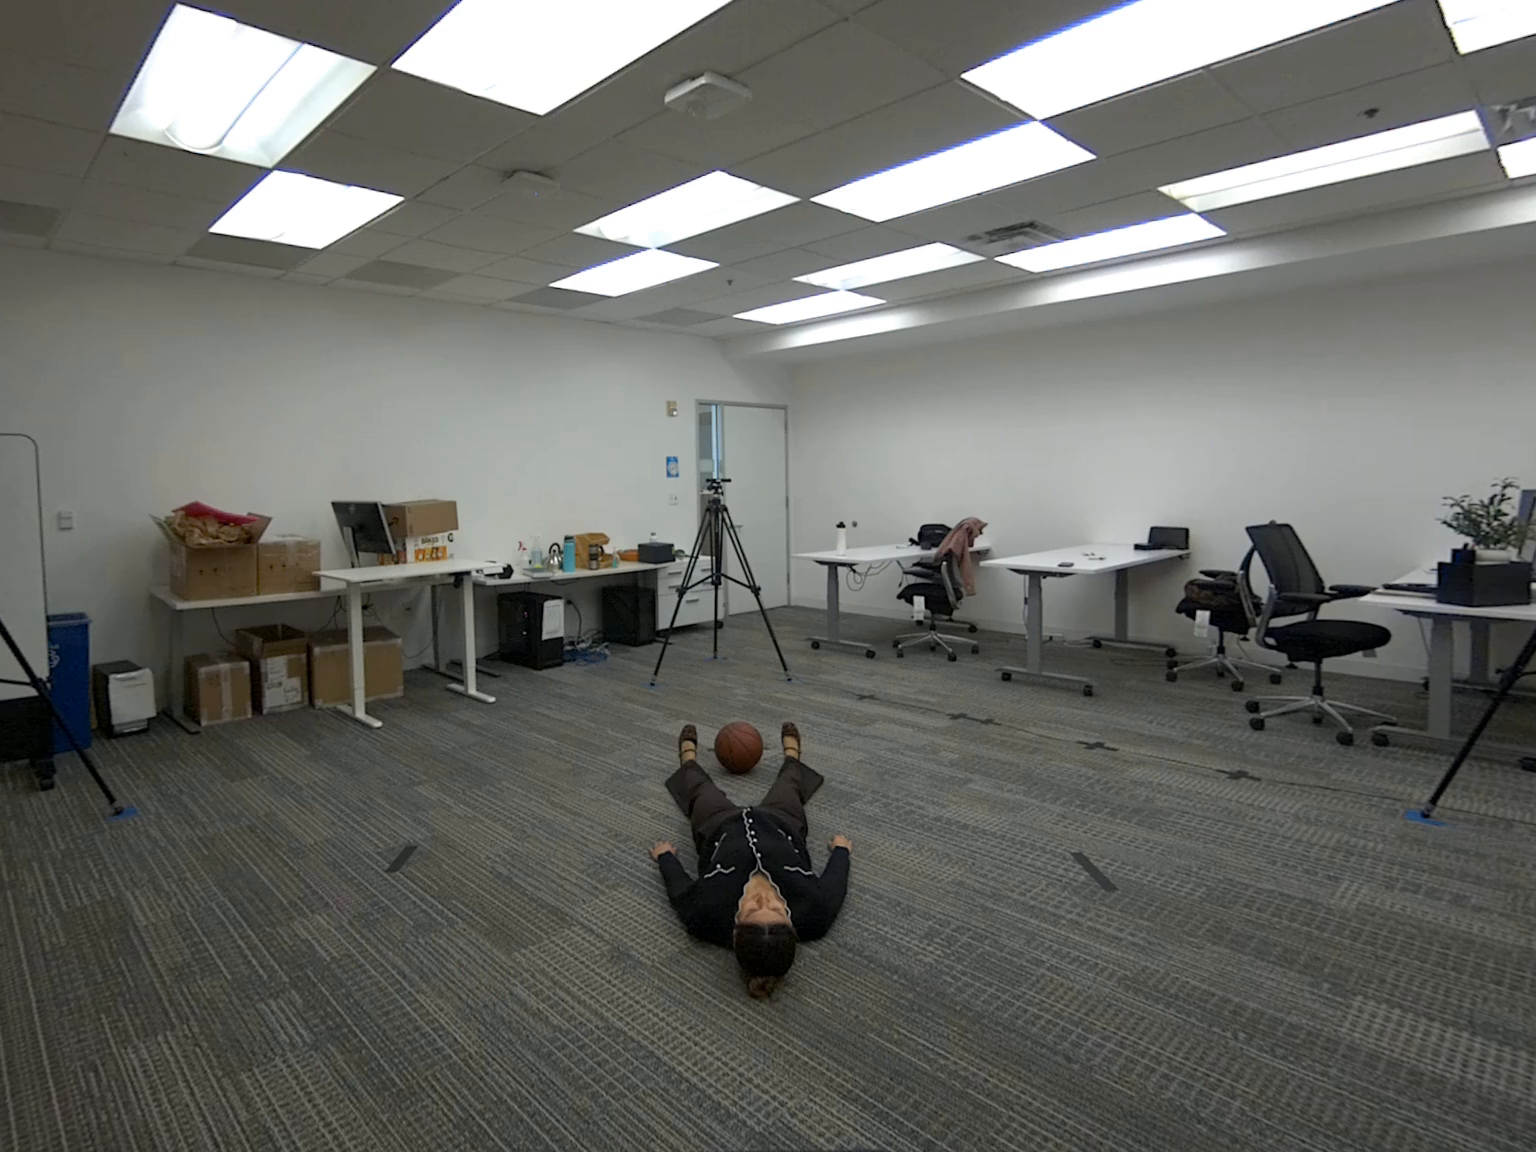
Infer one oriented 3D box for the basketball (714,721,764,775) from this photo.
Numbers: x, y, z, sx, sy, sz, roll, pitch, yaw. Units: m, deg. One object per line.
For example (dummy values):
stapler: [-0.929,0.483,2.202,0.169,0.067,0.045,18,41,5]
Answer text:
basketball: [-0.140,0.815,4.096,0.236,0.235,0.237,-4,4,-1]
